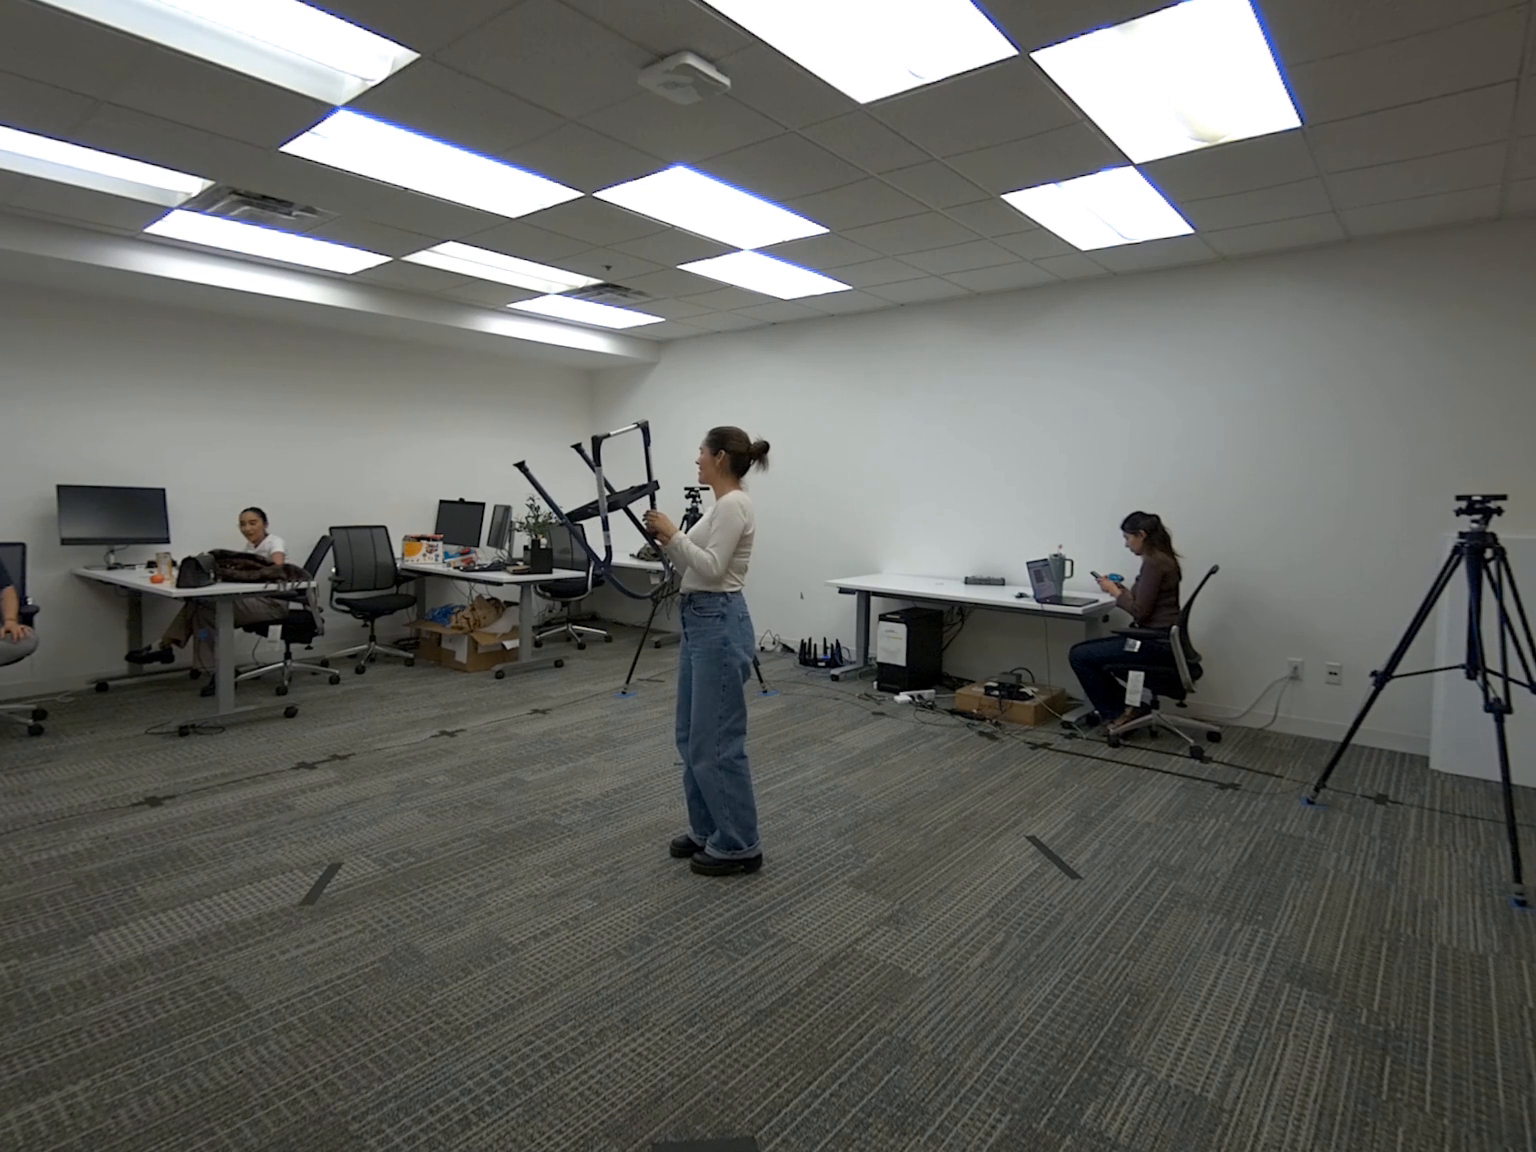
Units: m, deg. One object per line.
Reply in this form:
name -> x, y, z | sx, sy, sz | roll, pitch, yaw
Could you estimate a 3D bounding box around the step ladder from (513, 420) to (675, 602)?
step ladder -> -0.575, -0.209, 3.085 | 0.355, 0.599, 0.428 | -15, 10, 23
